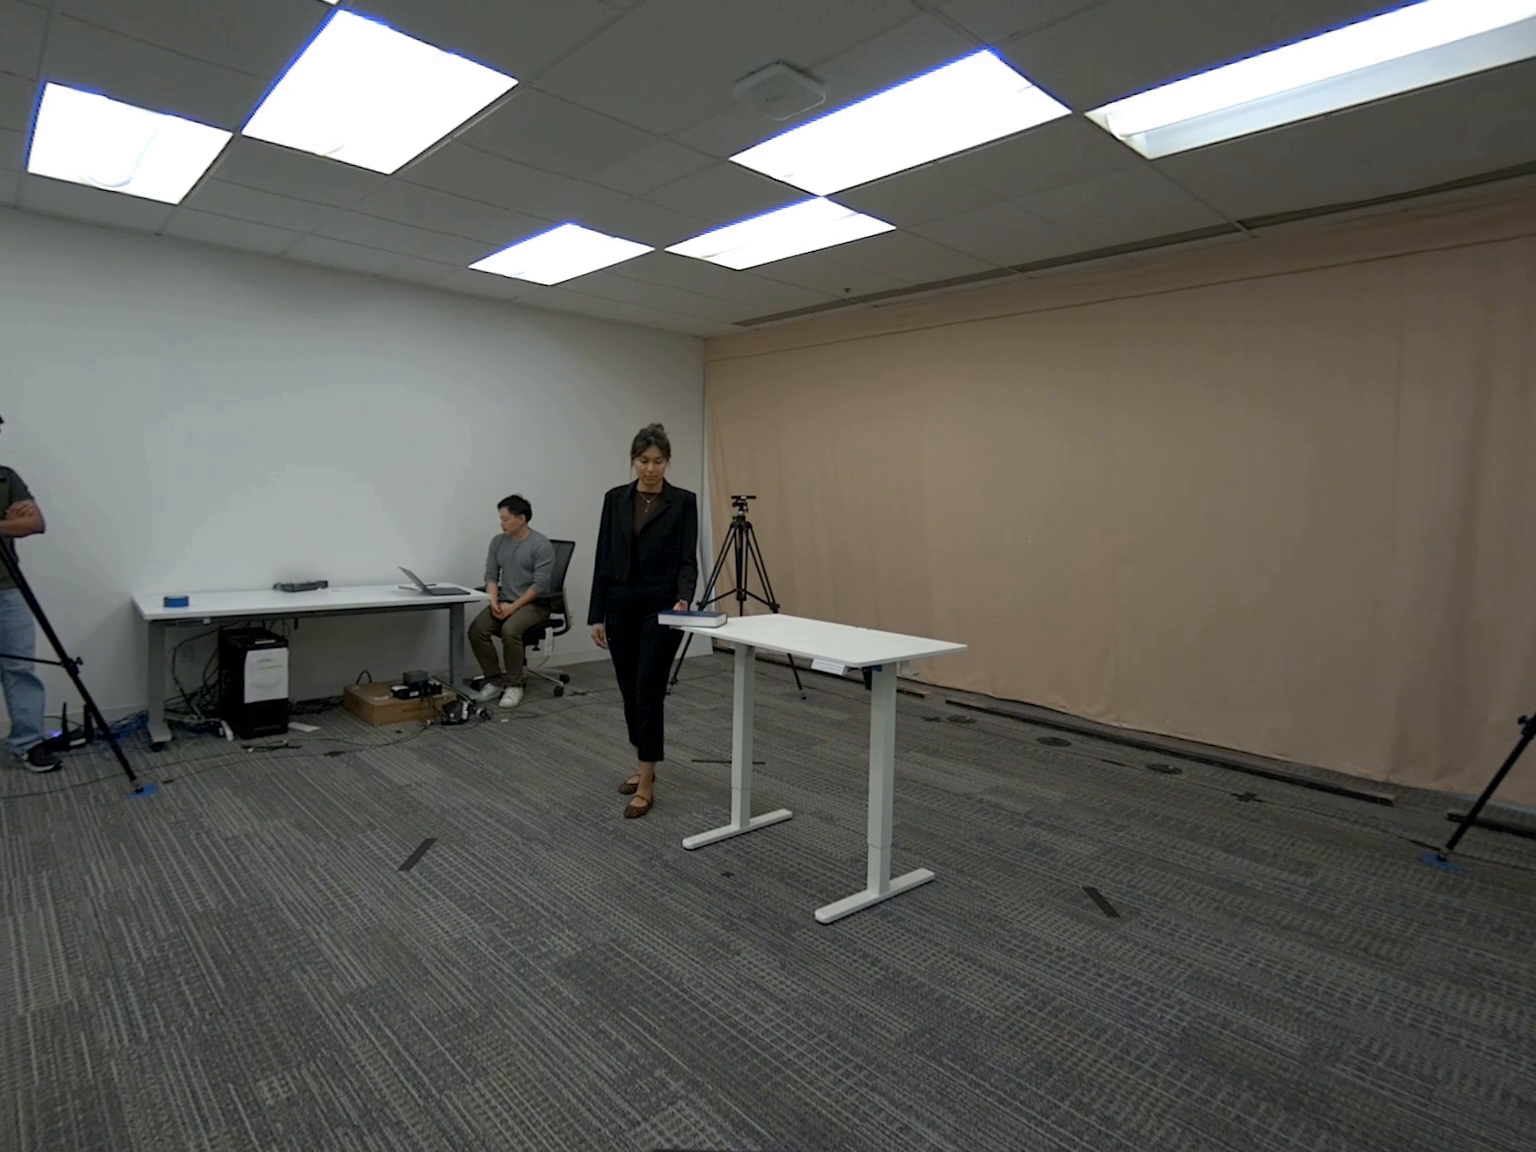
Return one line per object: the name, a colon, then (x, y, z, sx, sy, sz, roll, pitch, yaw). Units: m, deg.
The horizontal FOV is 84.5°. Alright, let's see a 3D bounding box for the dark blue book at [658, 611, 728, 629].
dark blue book: (-0.304, 0.166, 3.371, 0.248, 0.045, 0.162, 3, 4, 14)
